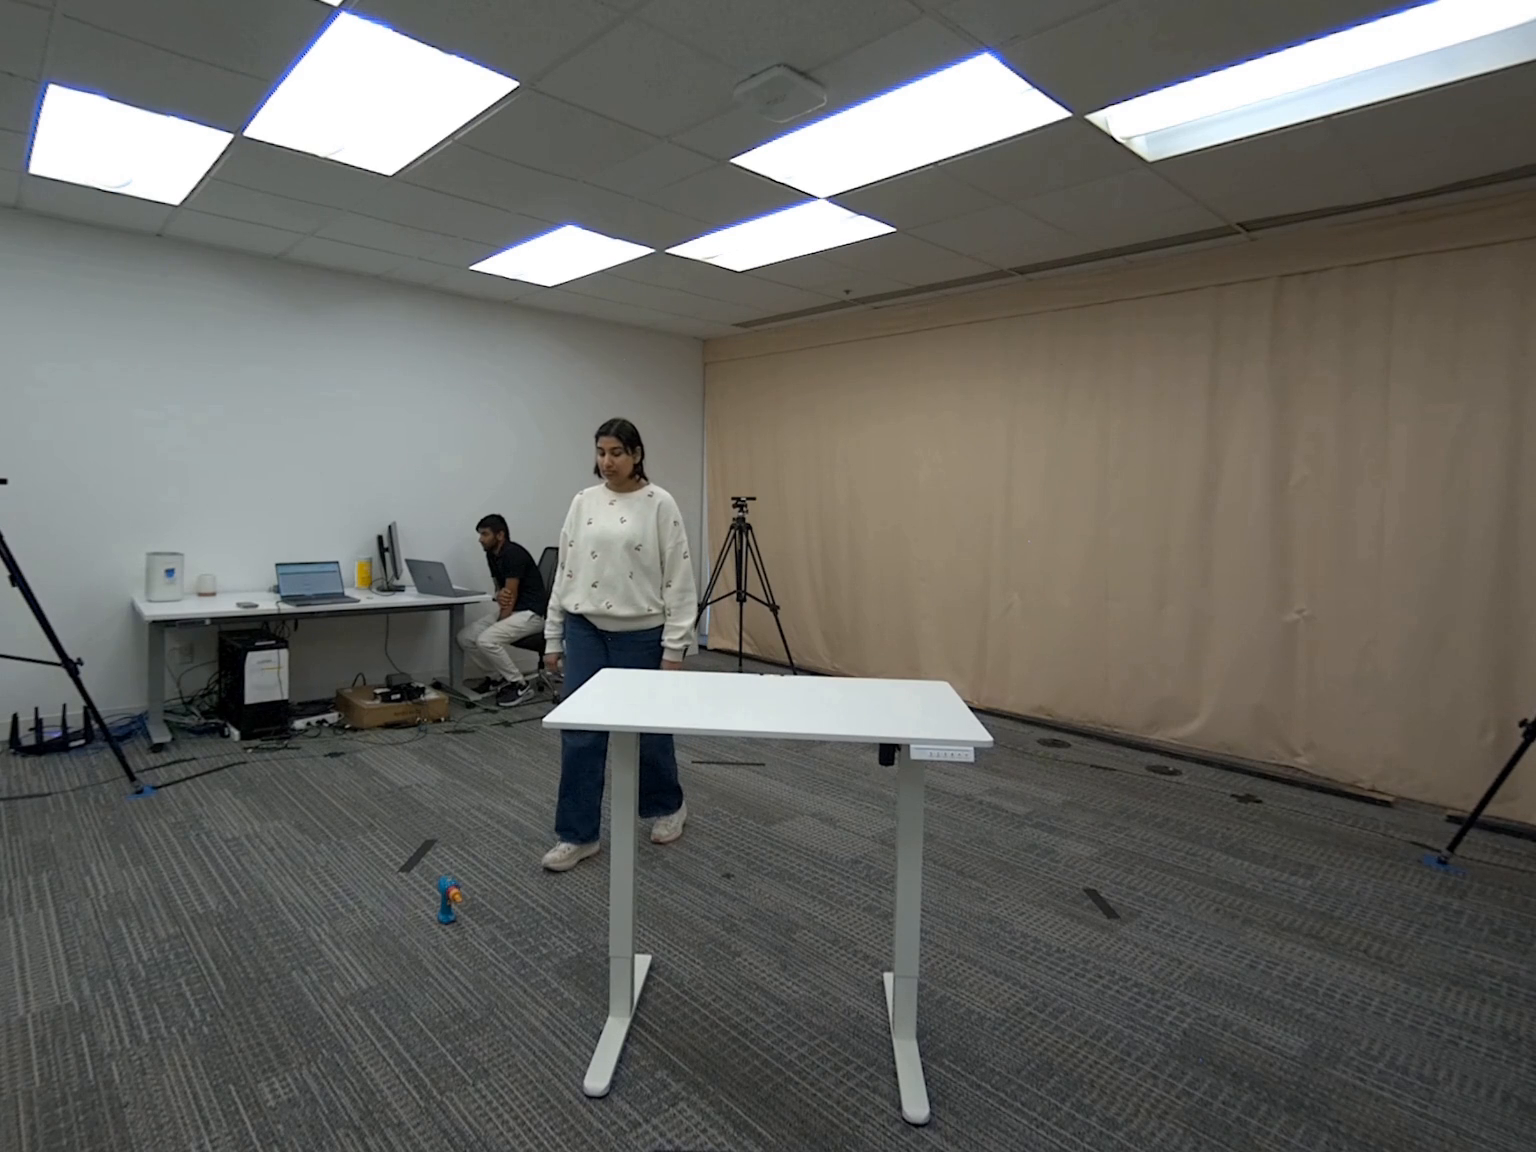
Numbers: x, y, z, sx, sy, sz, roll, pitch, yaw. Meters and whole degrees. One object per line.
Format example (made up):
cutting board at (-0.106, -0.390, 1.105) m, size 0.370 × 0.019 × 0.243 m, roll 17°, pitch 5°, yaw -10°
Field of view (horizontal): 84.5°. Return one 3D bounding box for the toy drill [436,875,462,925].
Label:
toy drill at (-1.028, 1.056, 2.701) m, size 0.060 × 0.145 × 0.174 m, roll -2°, pitch 6°, yaw -42°
